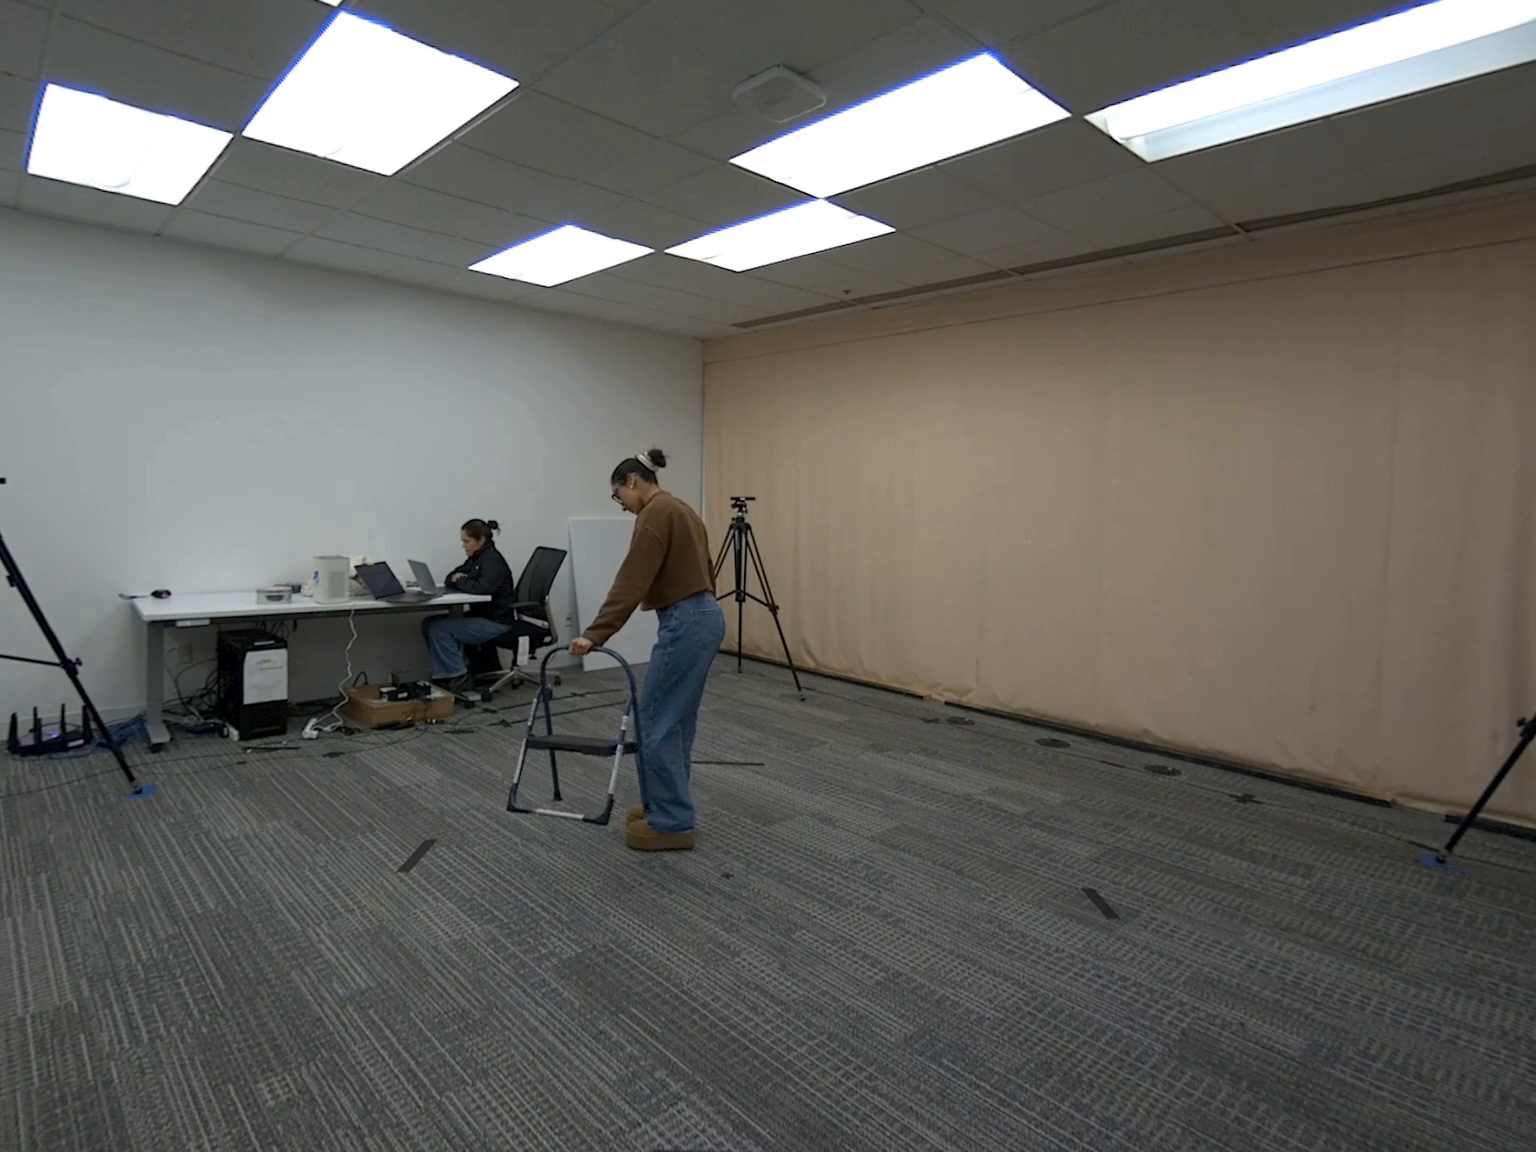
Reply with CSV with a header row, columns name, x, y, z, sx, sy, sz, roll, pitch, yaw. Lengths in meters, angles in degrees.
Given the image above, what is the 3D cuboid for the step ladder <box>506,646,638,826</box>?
name,x,y,z,sx,sy,sz,roll,pitch,yaw
step ladder,-0.688,0.575,3.127,0.438,0.609,0.342,0,-8,21
